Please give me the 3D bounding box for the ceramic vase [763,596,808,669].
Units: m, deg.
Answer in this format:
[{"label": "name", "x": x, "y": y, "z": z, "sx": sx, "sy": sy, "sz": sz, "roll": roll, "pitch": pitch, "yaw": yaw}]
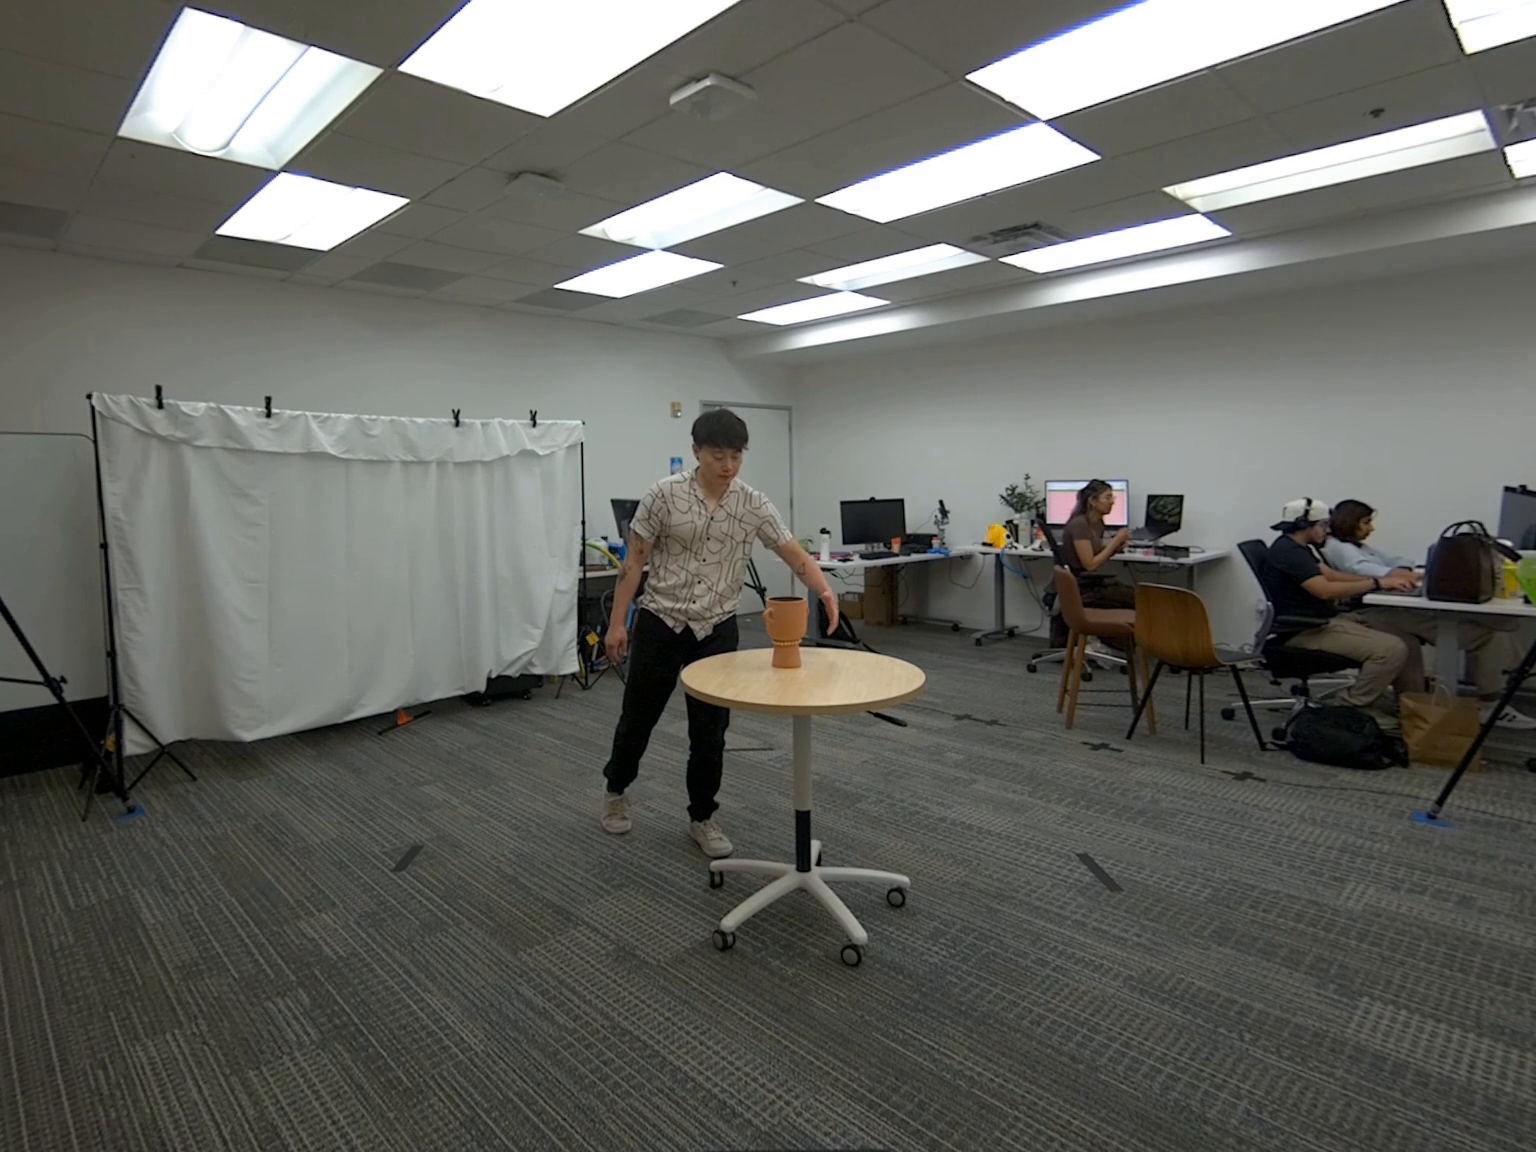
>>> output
[{"label": "ceramic vase", "x": 0.065, "y": 0.184, "z": 2.805, "sx": 0.159, "sy": 0.219, "sz": 0.135, "roll": 0, "pitch": 3, "yaw": -2}]
